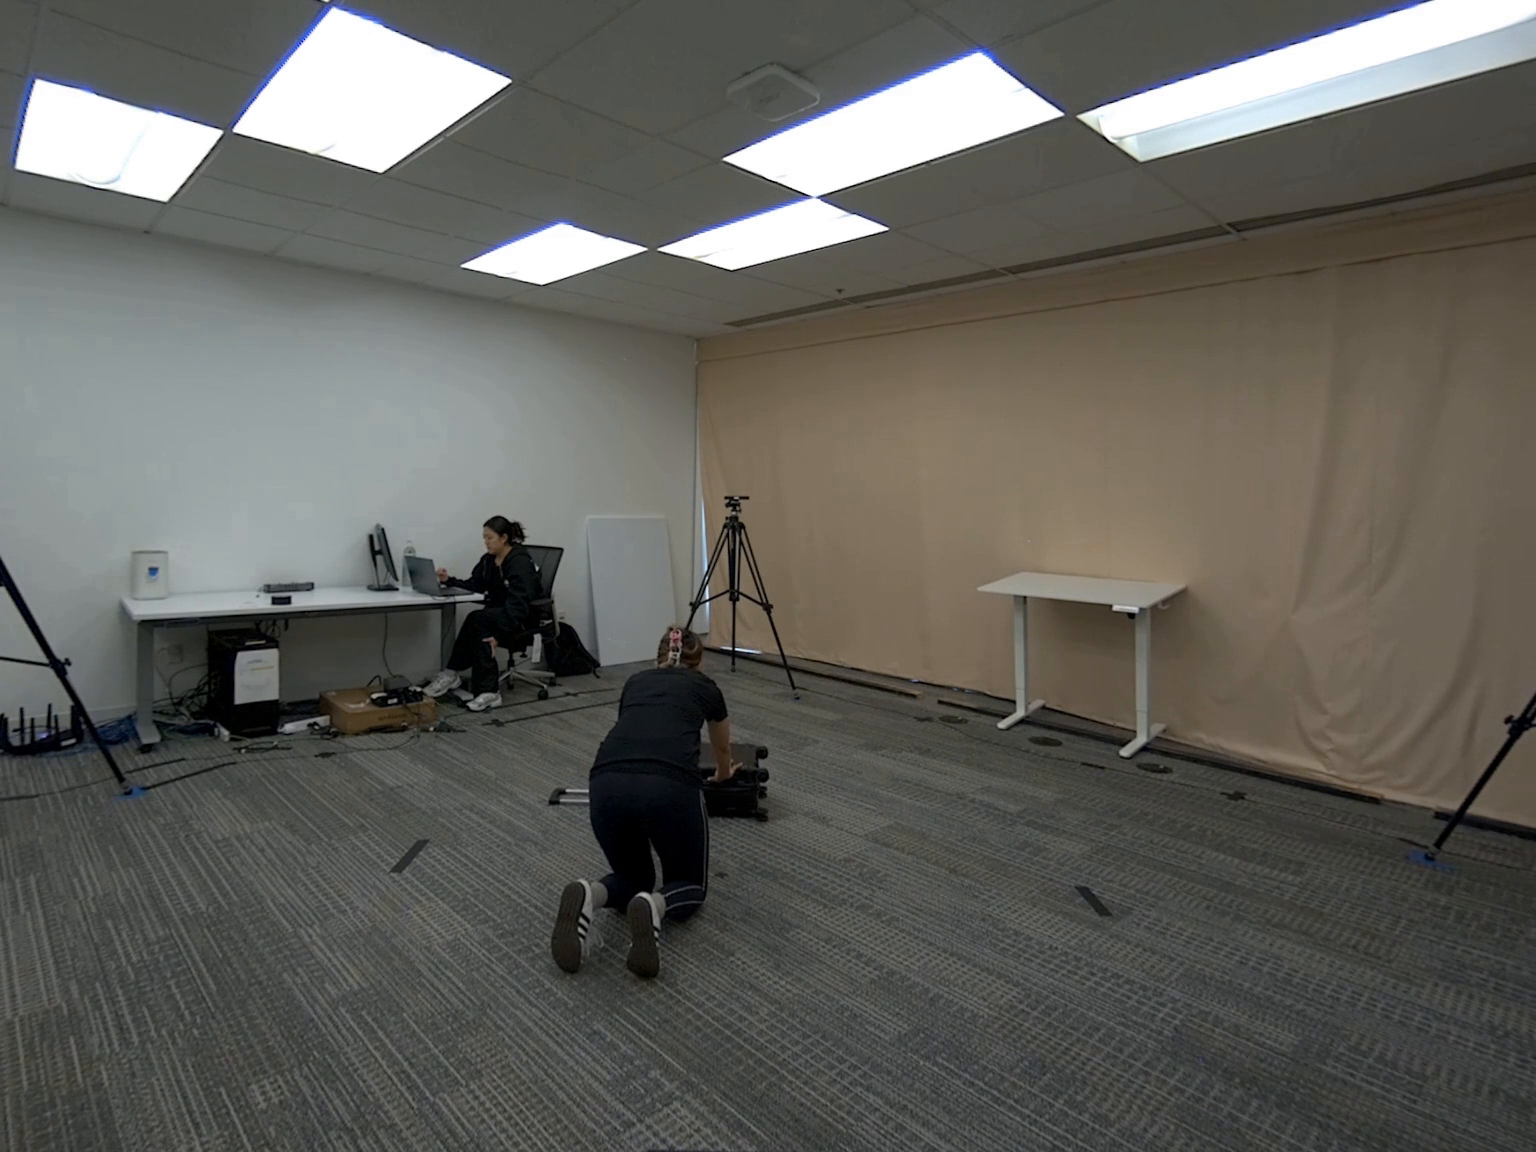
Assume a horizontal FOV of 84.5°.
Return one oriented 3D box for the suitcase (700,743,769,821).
[{"bbox_3d":[-0.489,0.910,3.832,0.980,0.256,0.385,3,6,1],"label":"suitcase"}]
